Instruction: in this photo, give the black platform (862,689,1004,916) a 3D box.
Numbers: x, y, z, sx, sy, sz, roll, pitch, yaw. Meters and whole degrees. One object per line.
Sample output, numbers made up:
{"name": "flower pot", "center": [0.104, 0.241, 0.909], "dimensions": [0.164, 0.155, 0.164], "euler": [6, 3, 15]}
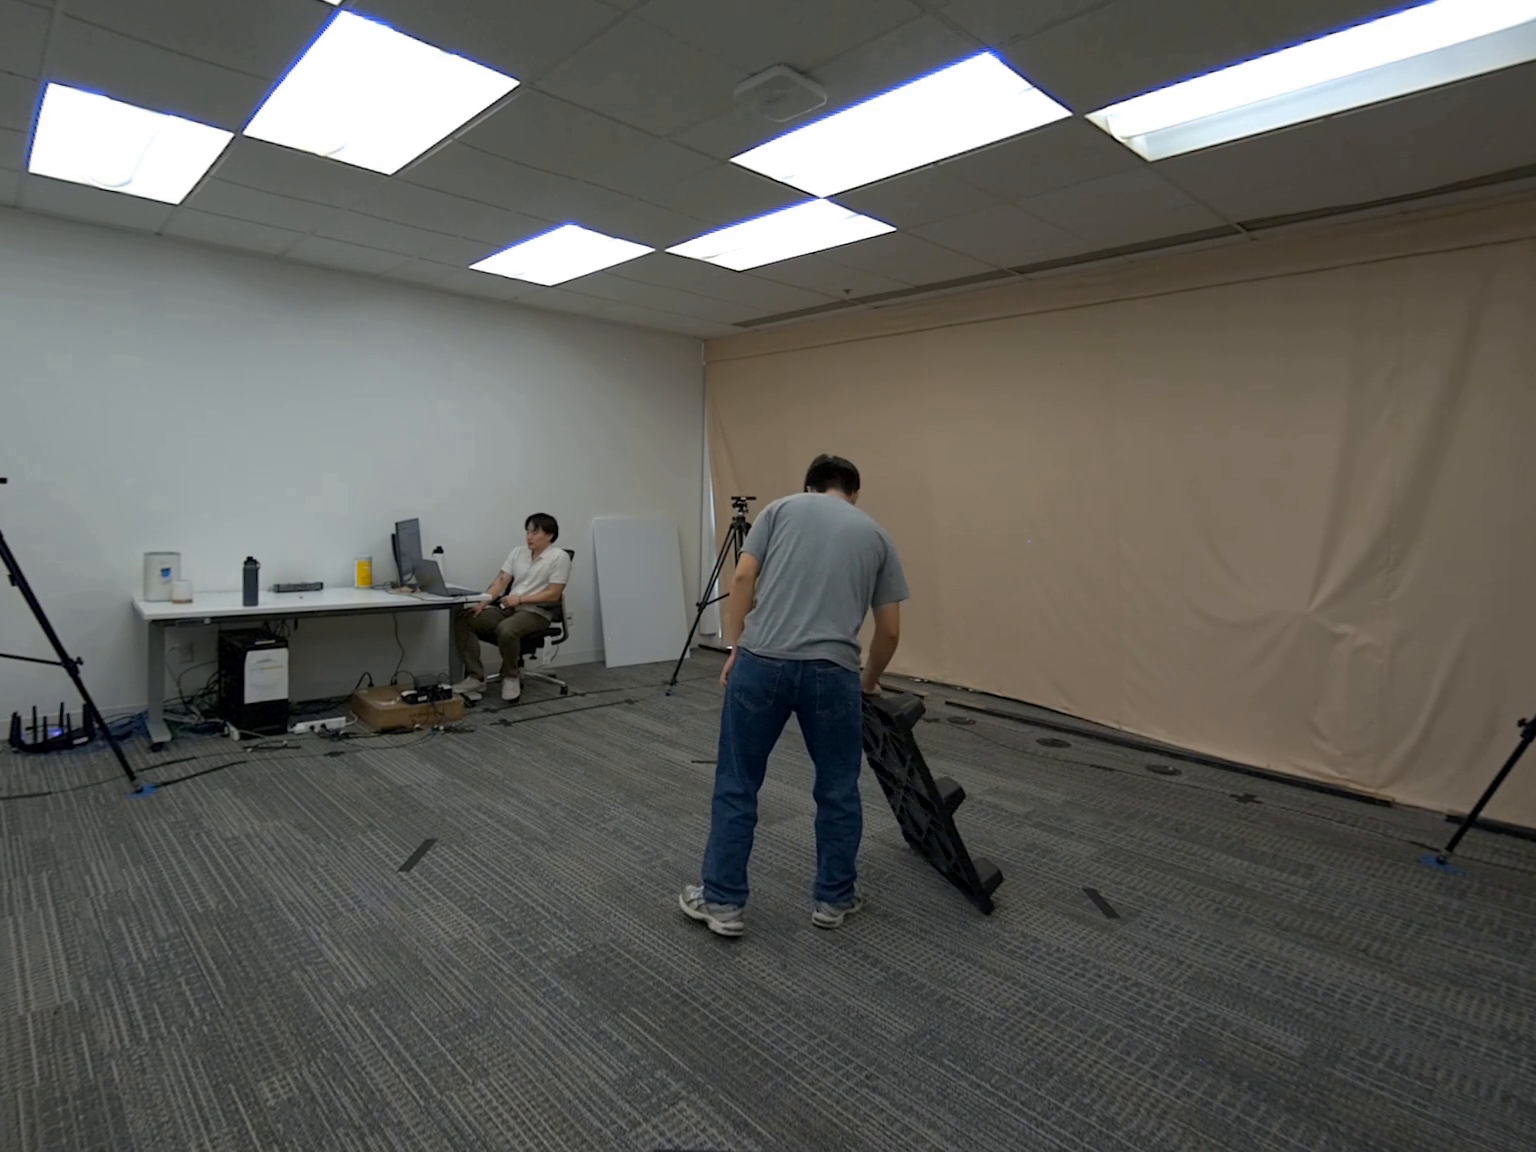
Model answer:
{"name": "black platform", "center": [0.534, 0.746, 3.059], "dimensions": [0.143, 0.798, 0.614], "euler": [-27, 11, -12]}
